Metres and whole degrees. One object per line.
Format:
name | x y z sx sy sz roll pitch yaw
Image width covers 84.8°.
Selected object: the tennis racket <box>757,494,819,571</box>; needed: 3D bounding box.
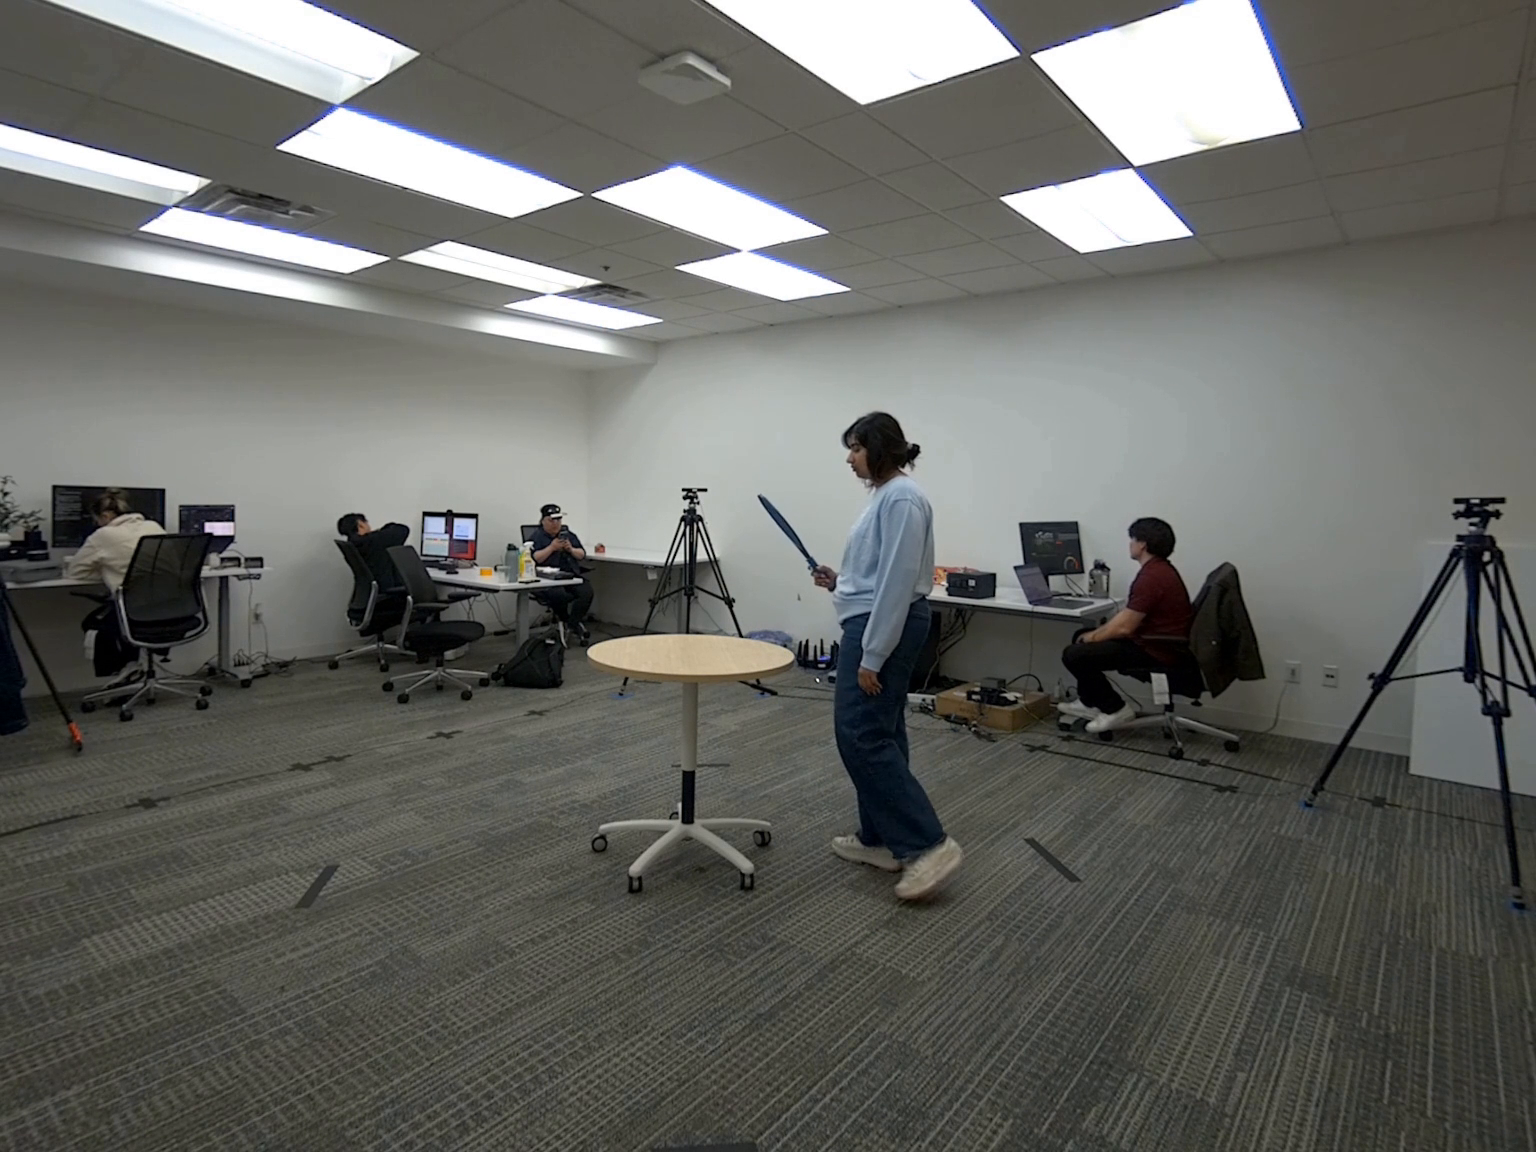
tennis racket | 0.105 -0.148 3.242 0.032 0.431 0.214 -31 3 1
